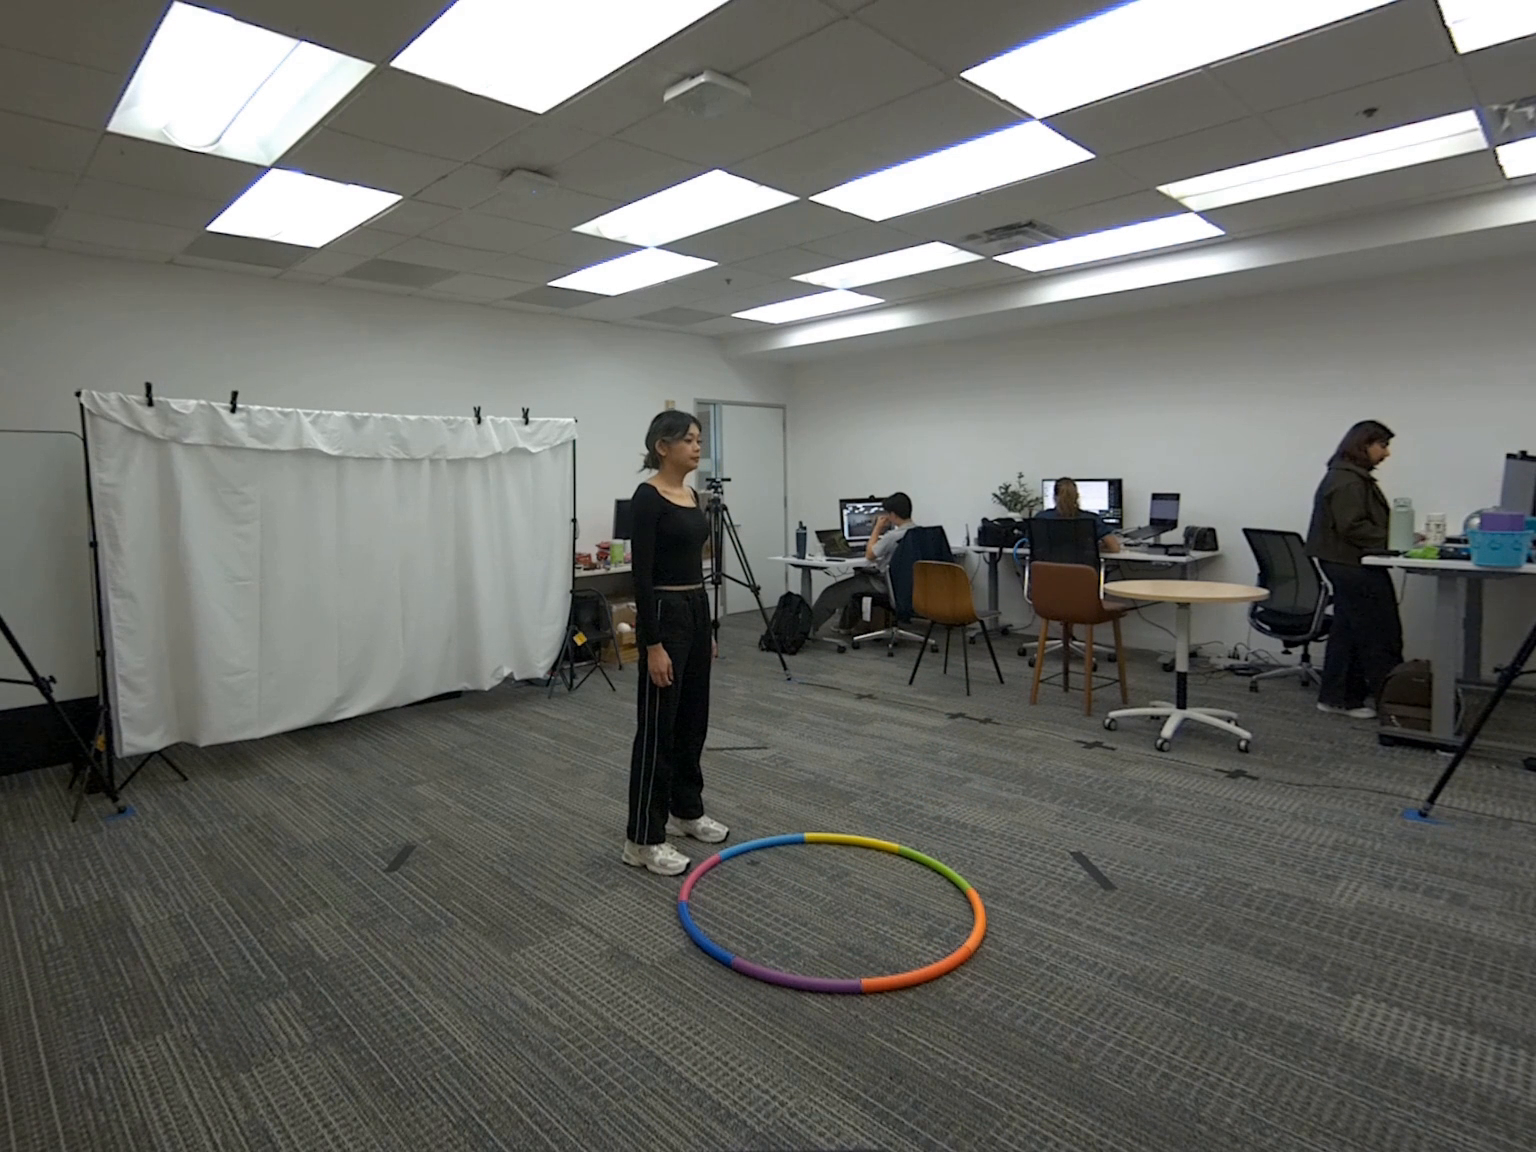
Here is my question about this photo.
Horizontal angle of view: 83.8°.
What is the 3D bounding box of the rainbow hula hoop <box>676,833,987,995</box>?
[{"bbox_3d":[0.196,1.045,2.794,0.978,0.035,0.984,-2,7,-2],"label":"rainbow hula hoop"}]
